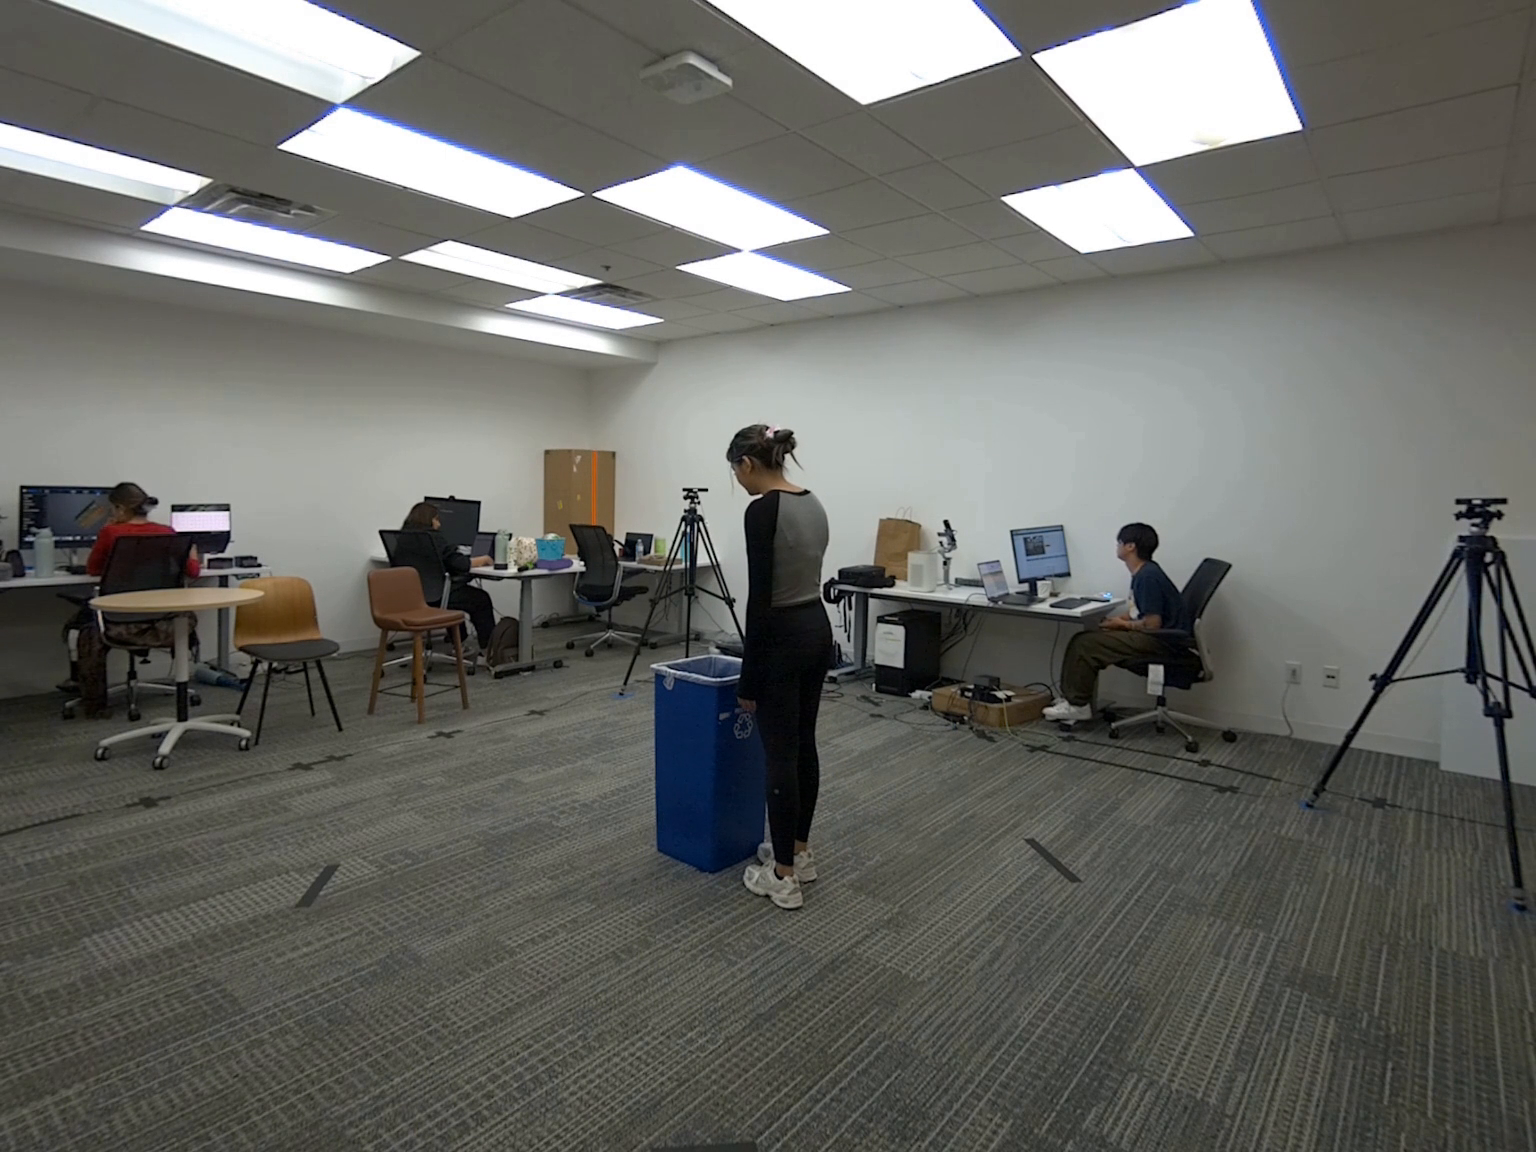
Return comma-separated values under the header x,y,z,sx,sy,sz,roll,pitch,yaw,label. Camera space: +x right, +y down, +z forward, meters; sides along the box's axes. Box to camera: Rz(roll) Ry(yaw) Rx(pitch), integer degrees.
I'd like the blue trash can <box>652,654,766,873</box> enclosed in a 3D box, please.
x,y,z,sx,sy,sz,roll,pitch,yaw,label
-0.224,0.695,3.268,0.391,0.711,0.363,4,4,40,blue trash can
